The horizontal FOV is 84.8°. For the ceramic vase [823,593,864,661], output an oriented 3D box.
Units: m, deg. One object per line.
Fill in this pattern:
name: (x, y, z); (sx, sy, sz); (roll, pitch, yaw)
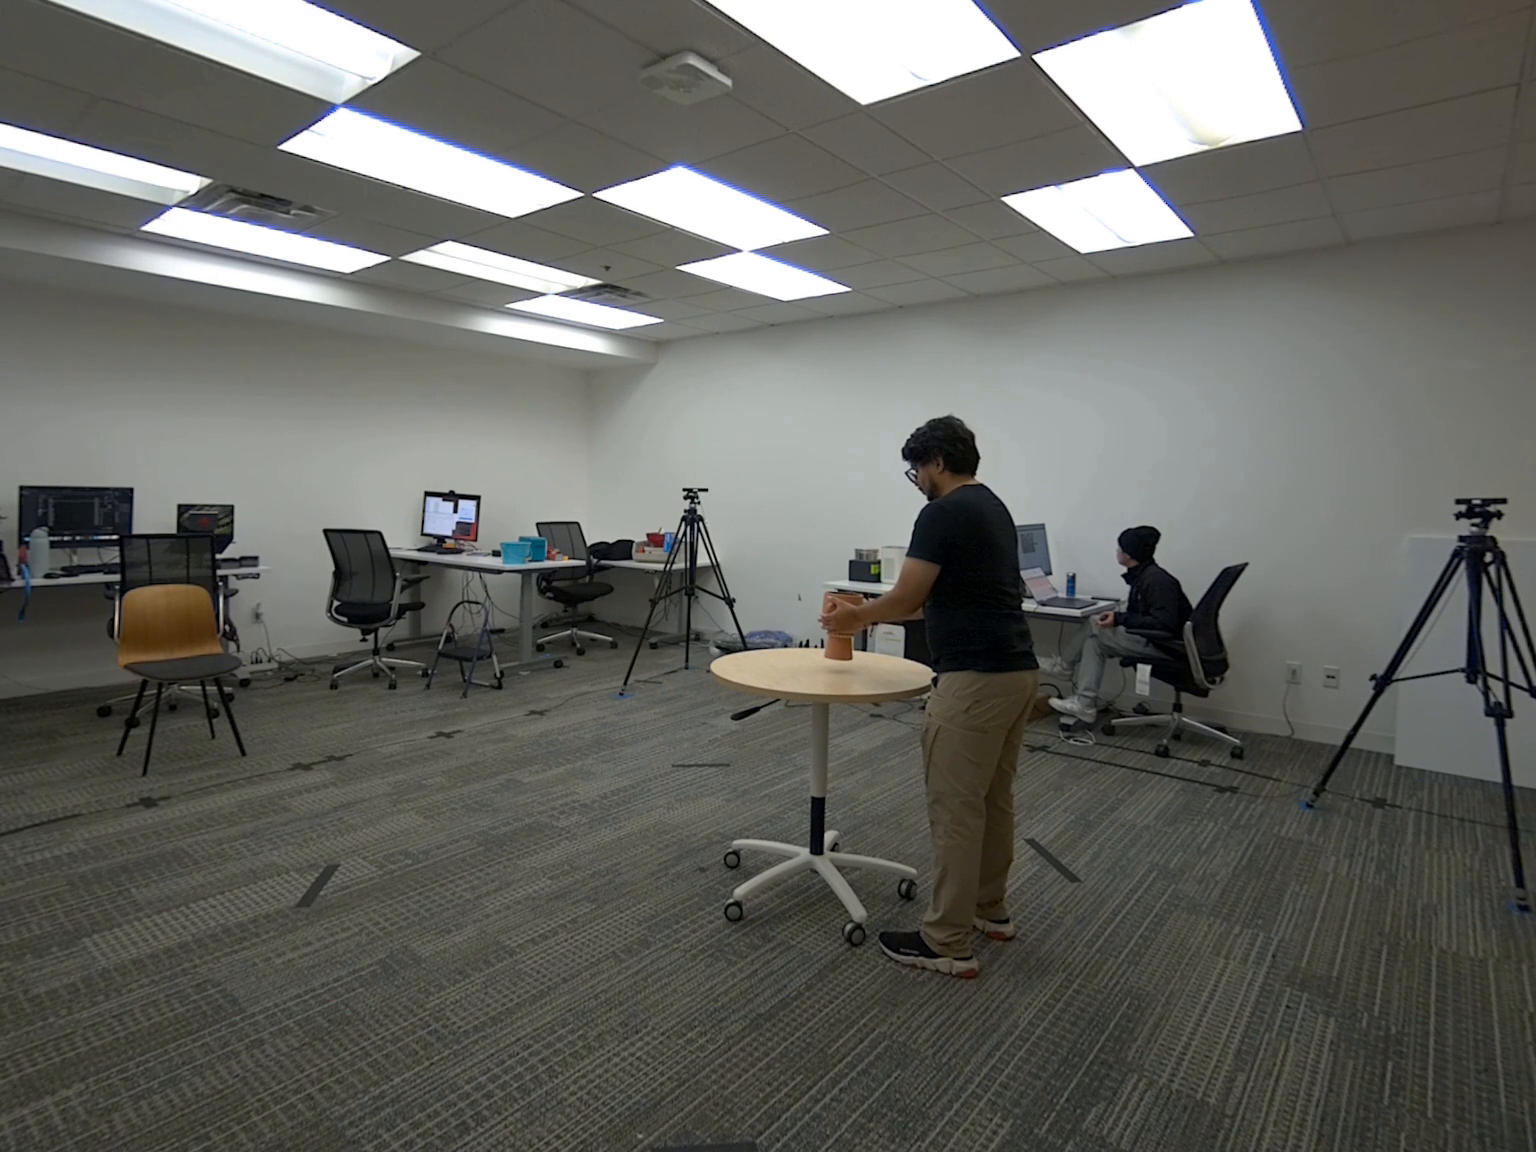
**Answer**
ceramic vase: (0.241, 0.168, 2.879); (0.155, 0.219, 0.138); (5, 4, -24)
